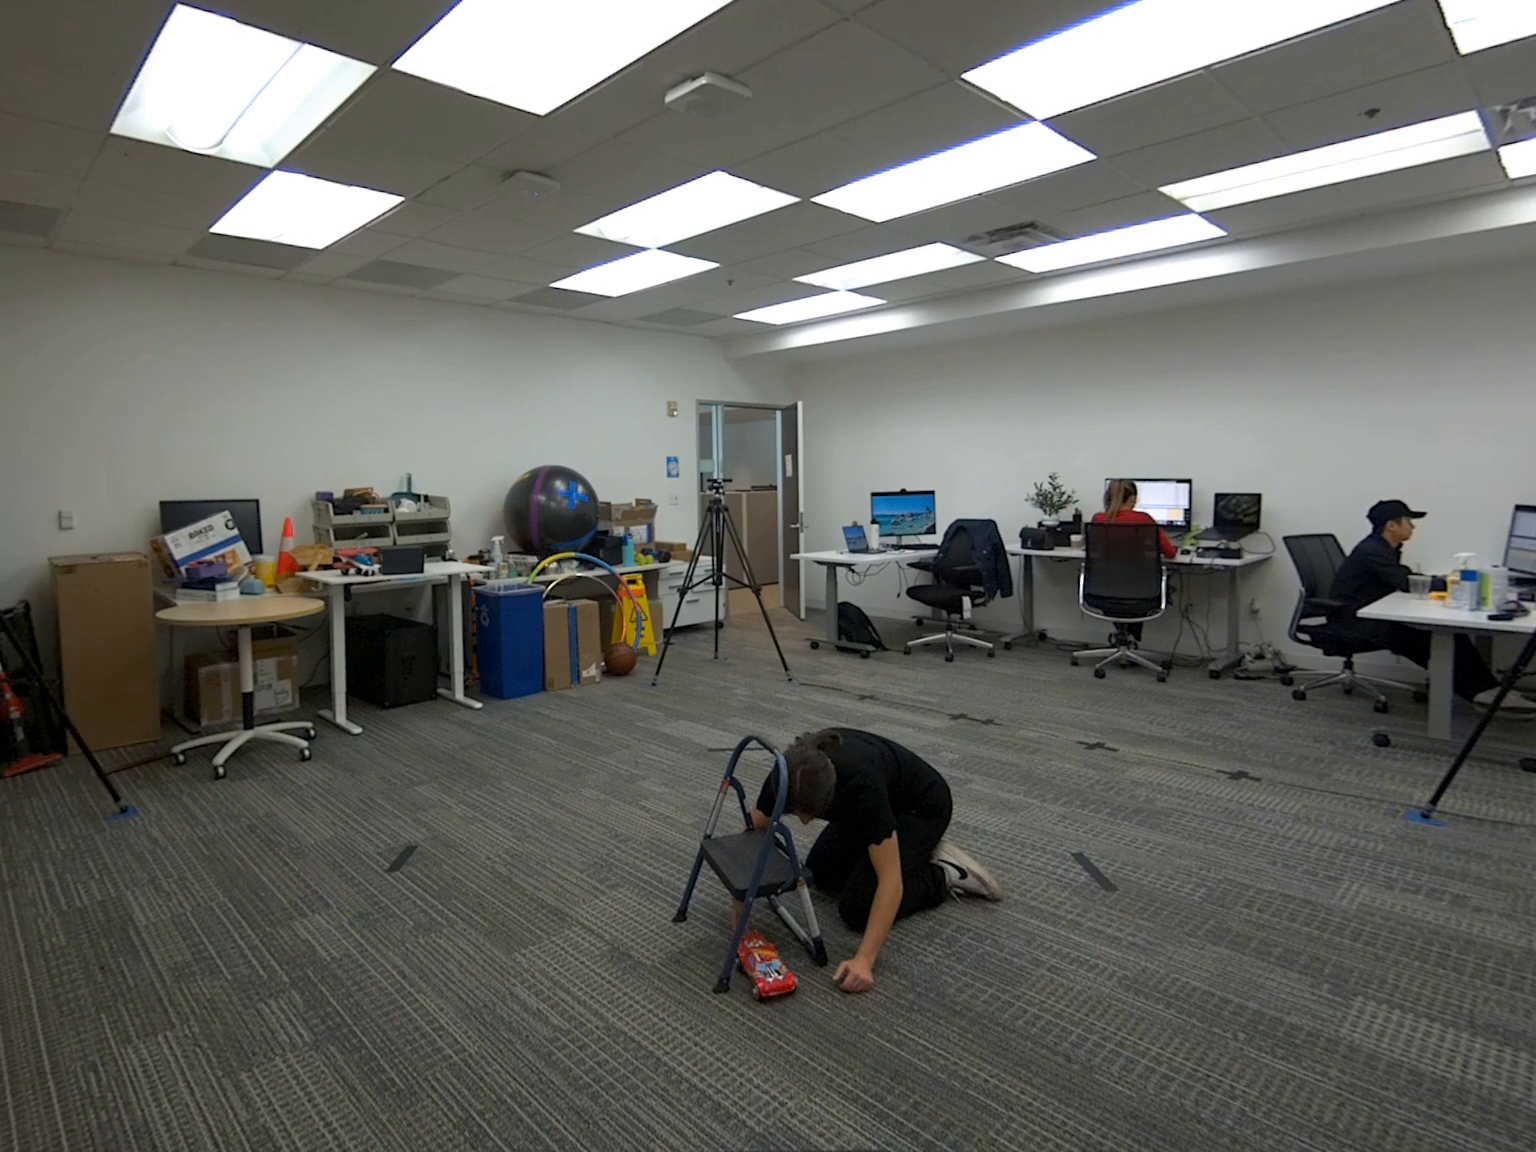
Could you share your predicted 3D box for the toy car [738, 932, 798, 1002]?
[{"bbox_3d":[-0.013,1.102,2.396,0.128,0.082,0.262,-5,17,-19],"label":"toy car"}]
